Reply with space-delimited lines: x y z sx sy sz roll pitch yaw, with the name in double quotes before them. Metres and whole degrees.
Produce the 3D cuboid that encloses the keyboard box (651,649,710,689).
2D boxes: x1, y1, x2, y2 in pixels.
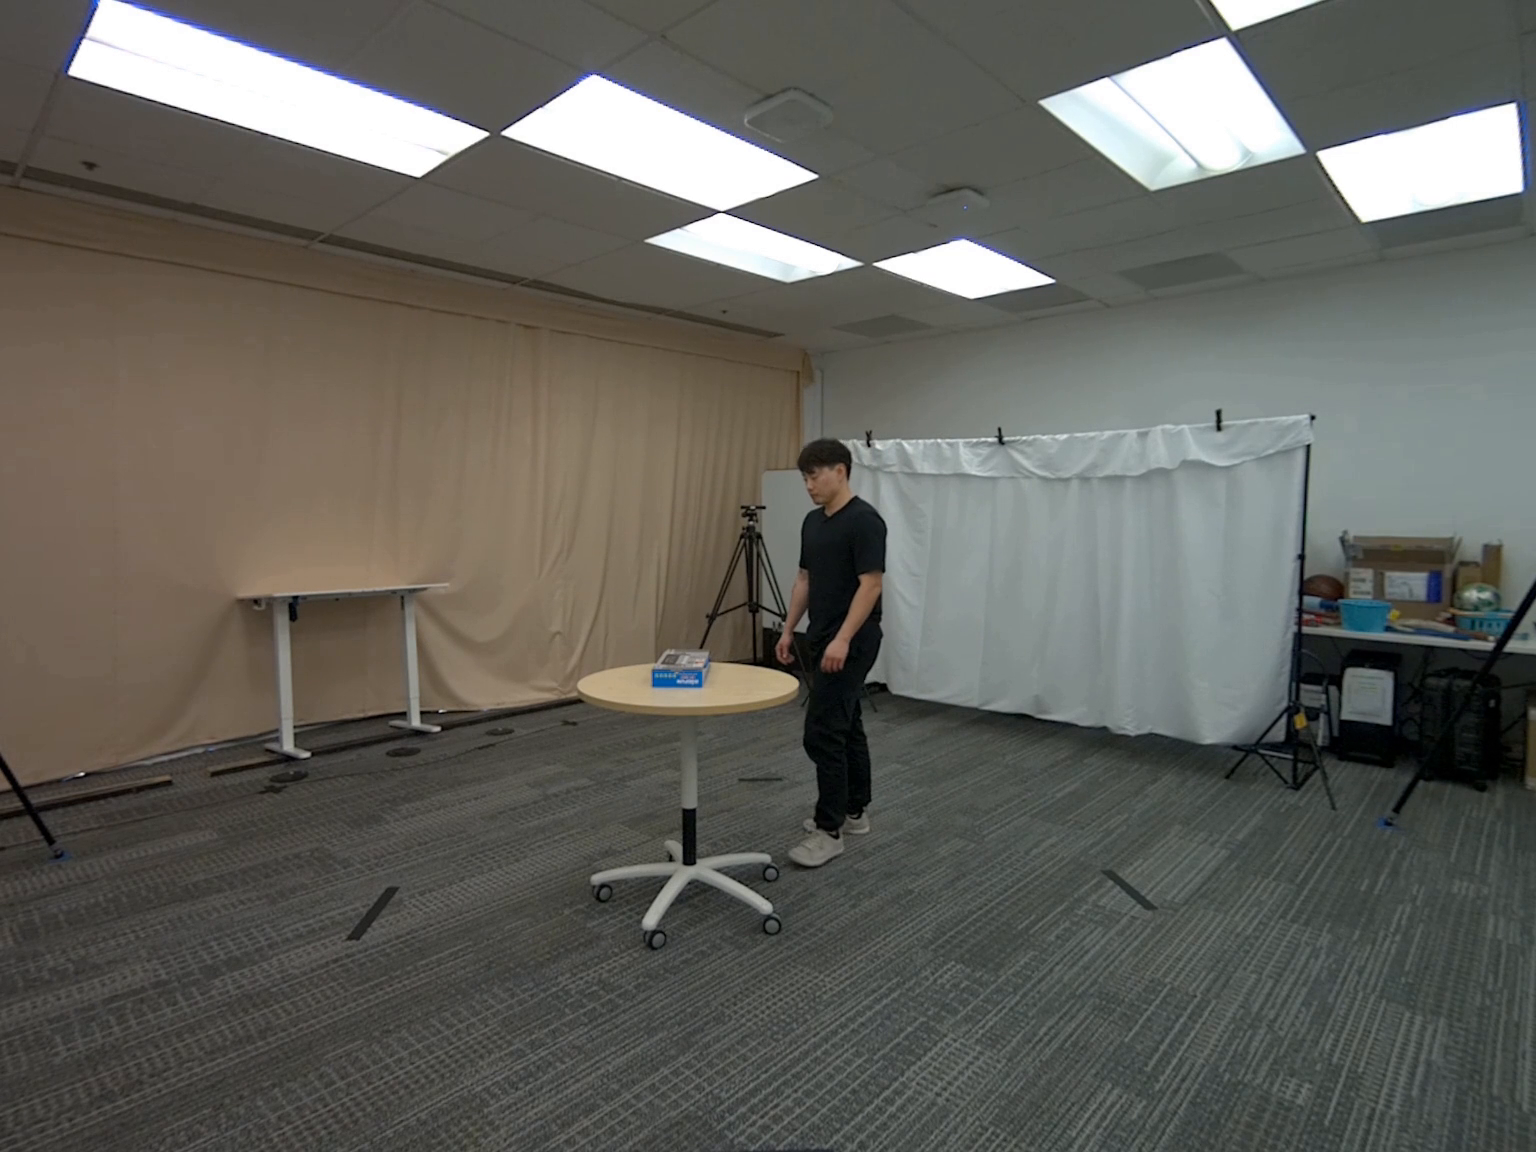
"keyboard box" -0.303 0.328 3.044 0.176 0.059 0.437 -1 4 0
